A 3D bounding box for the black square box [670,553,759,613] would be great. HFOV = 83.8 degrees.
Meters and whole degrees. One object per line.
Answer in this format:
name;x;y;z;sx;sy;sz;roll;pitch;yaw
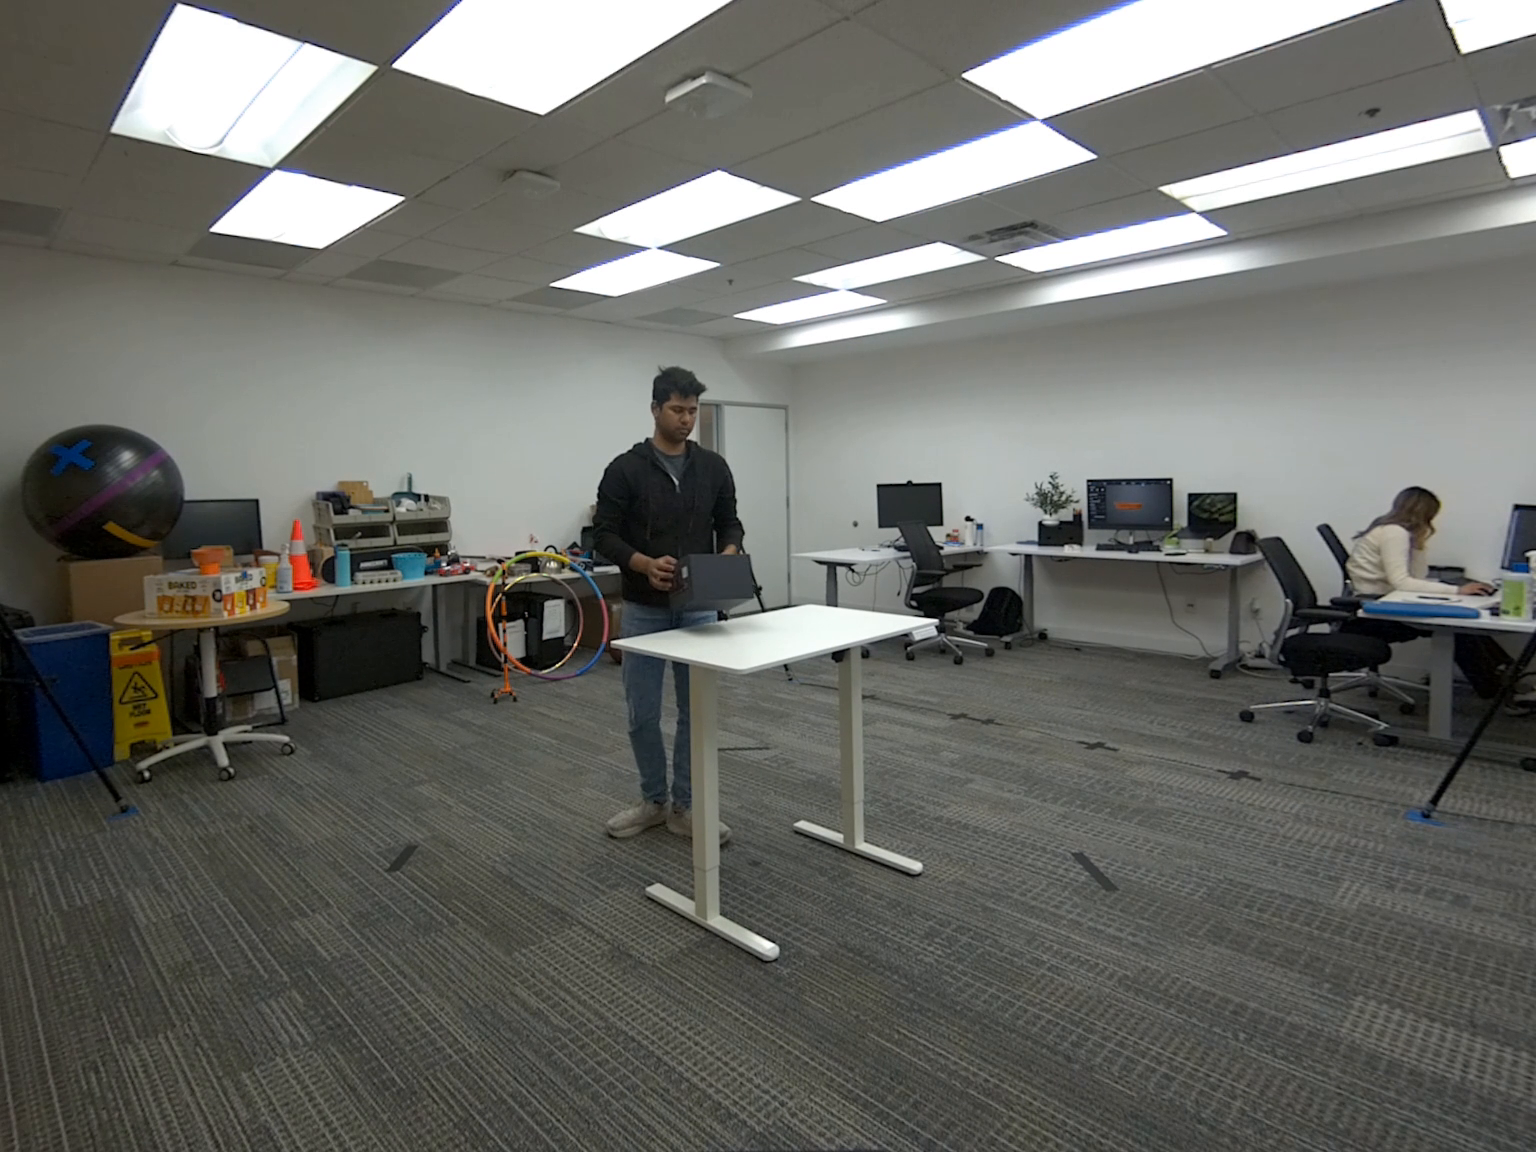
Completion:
black square box;-0.207;0.032;2.936;0.223;0.158;0.219;-1;-13;-25
